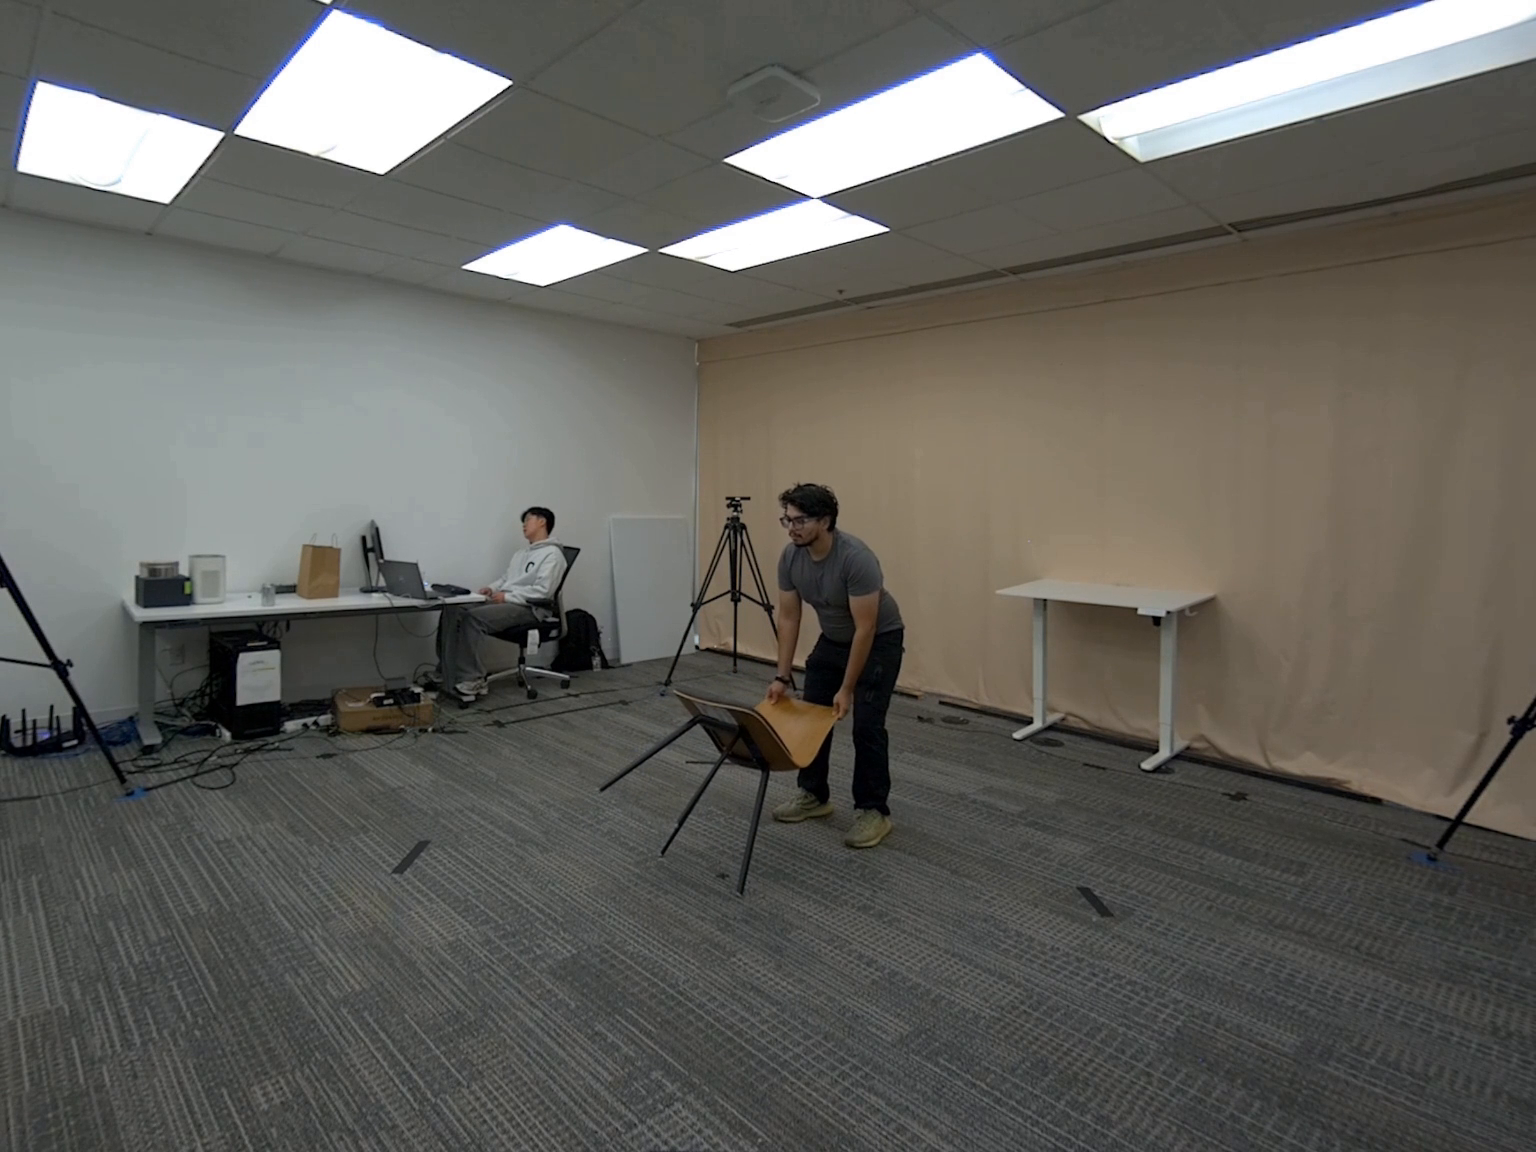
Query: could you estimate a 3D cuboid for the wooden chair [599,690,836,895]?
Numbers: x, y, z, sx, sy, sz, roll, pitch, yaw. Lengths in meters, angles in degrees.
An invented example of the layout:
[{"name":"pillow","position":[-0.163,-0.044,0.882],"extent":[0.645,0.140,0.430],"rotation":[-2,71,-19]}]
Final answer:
[{"name":"wooden chair","position":[-0.140,0.637,3.183],"extent":[0.490,0.510,0.878],"rotation":[4,44,45]}]
